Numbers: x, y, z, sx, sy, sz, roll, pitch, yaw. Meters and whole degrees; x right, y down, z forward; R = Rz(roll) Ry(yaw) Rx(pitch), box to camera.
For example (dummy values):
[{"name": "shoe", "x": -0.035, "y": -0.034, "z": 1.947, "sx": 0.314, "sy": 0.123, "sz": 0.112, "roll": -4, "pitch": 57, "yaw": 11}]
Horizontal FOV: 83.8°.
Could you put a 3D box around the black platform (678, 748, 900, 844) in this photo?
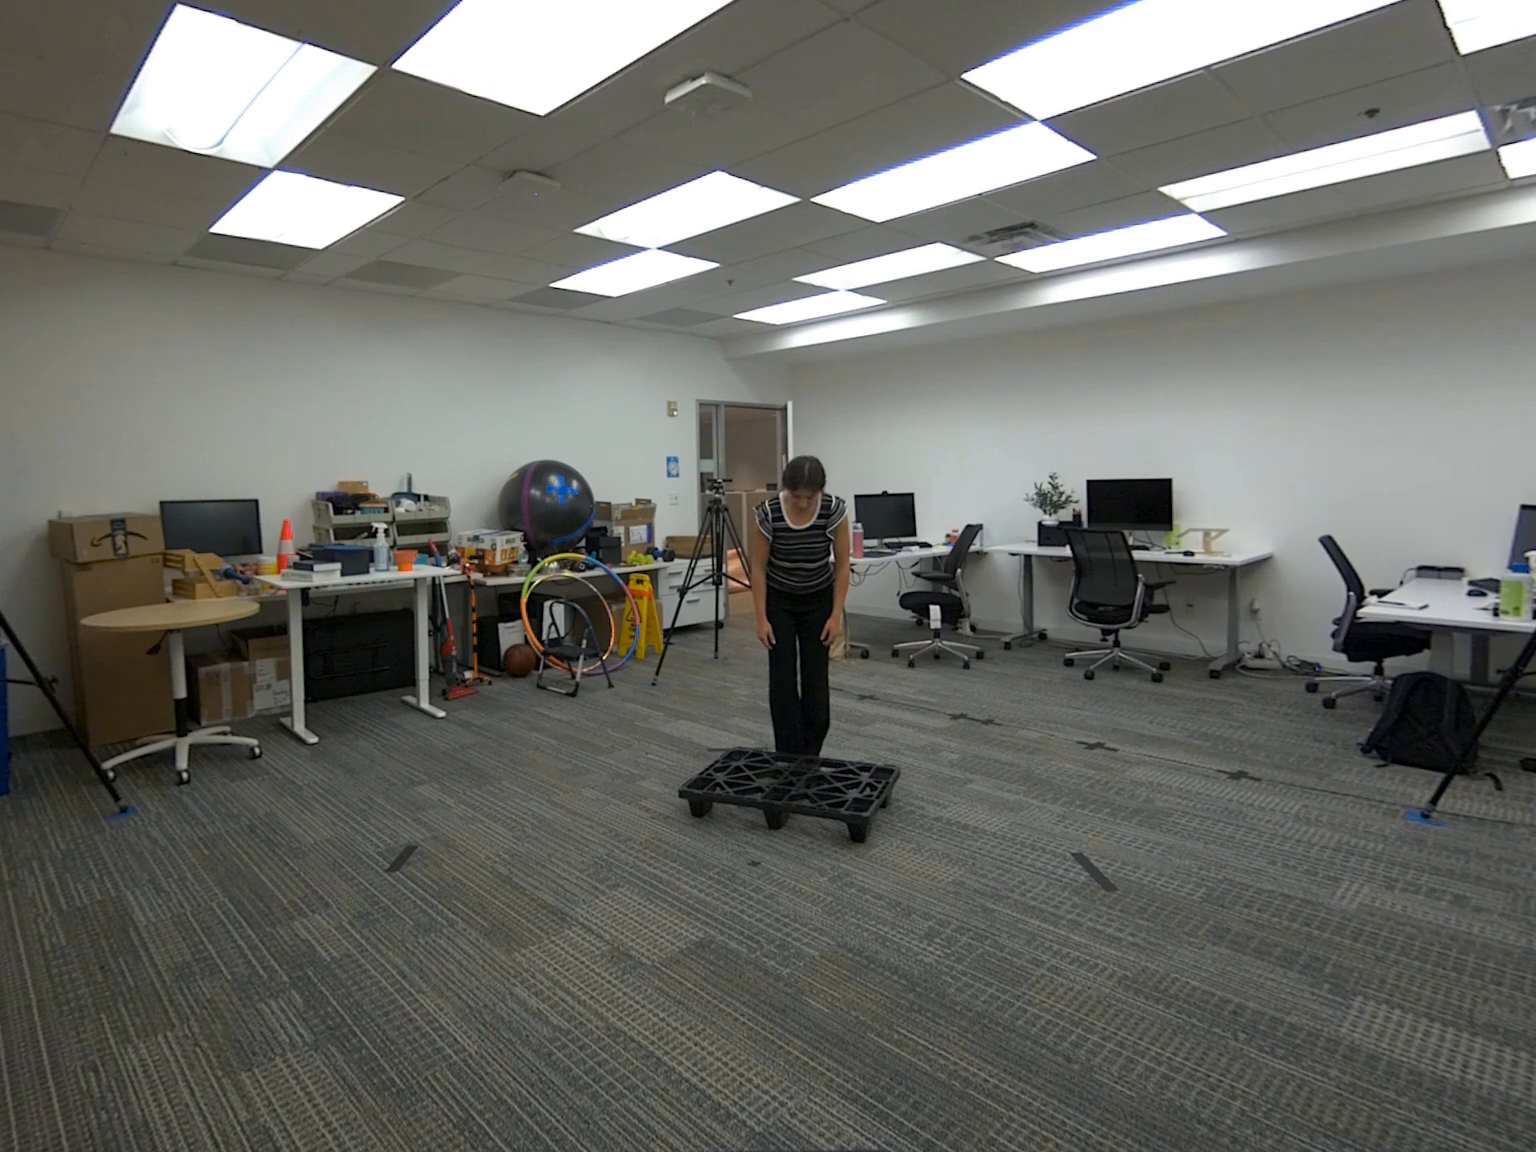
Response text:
[{"name": "black platform", "x": 0.104, "y": 0.916, "z": 3.610, "sx": 0.822, "sy": 0.142, "sz": 0.595, "roll": 1, "pitch": 7, "yaw": 22}]
